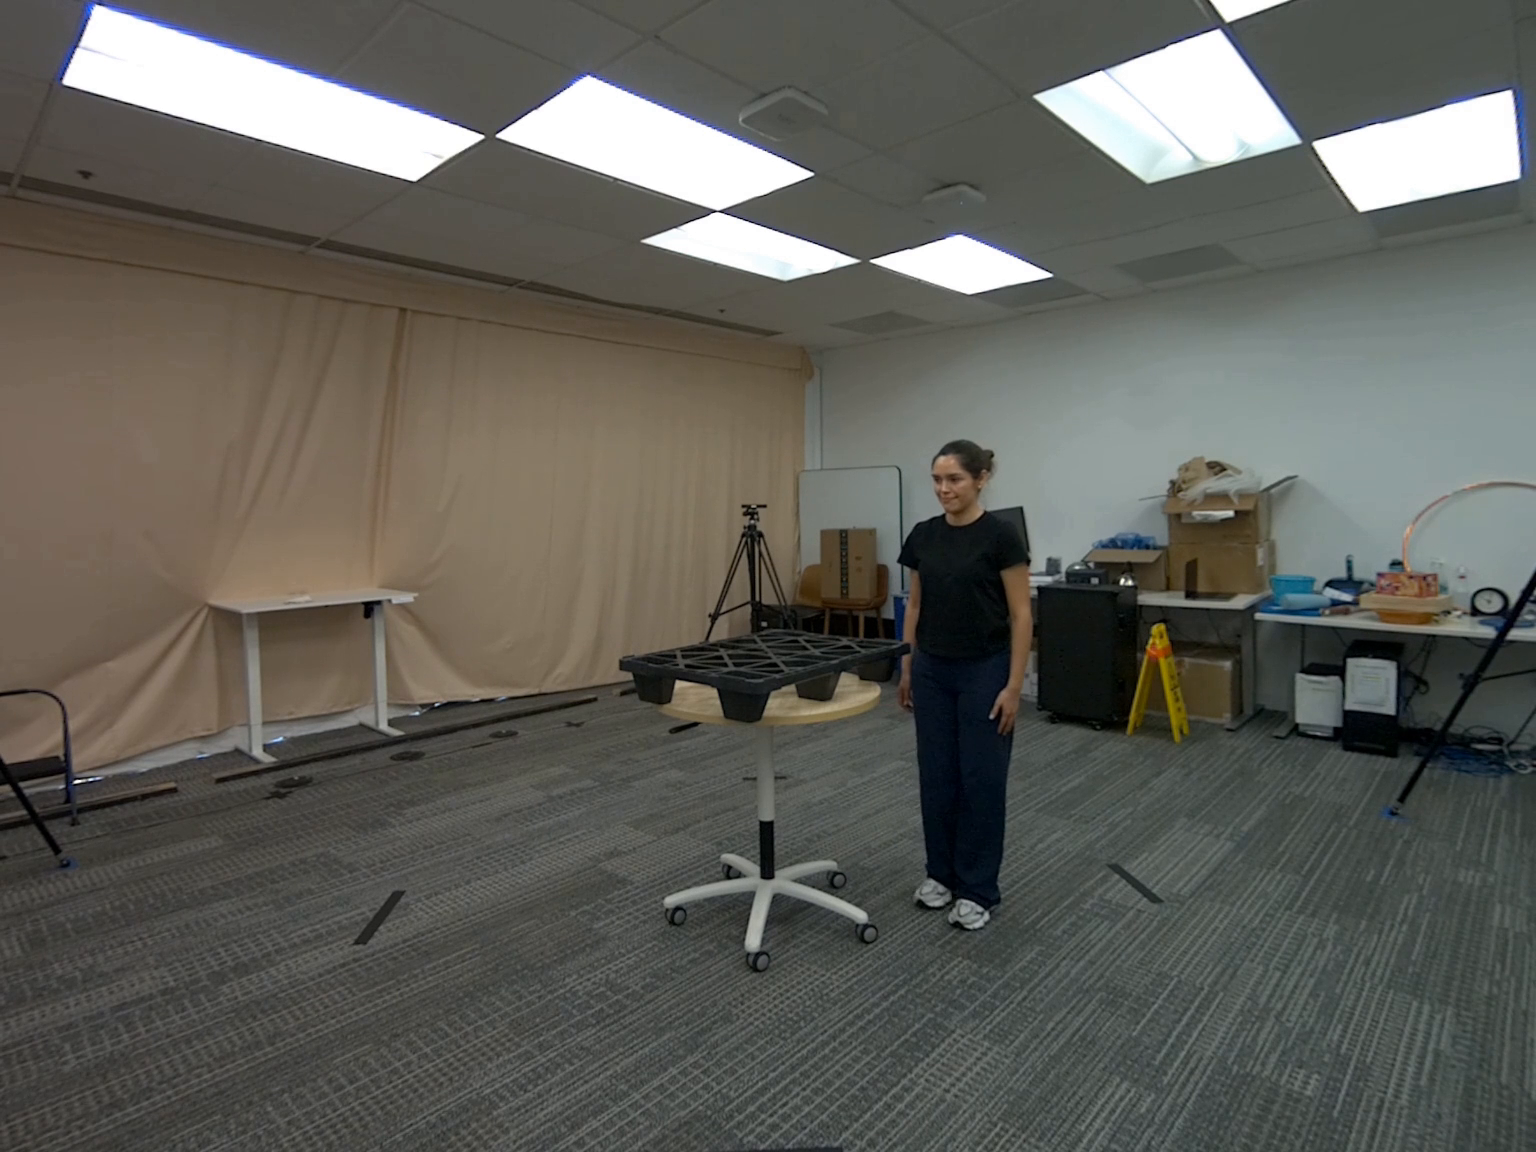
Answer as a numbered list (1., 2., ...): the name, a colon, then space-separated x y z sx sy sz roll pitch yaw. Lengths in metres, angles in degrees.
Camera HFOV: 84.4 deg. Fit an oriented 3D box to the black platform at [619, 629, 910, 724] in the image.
1. black platform: 0.030 0.315 2.761 0.625 0.143 0.781 2 6 42
